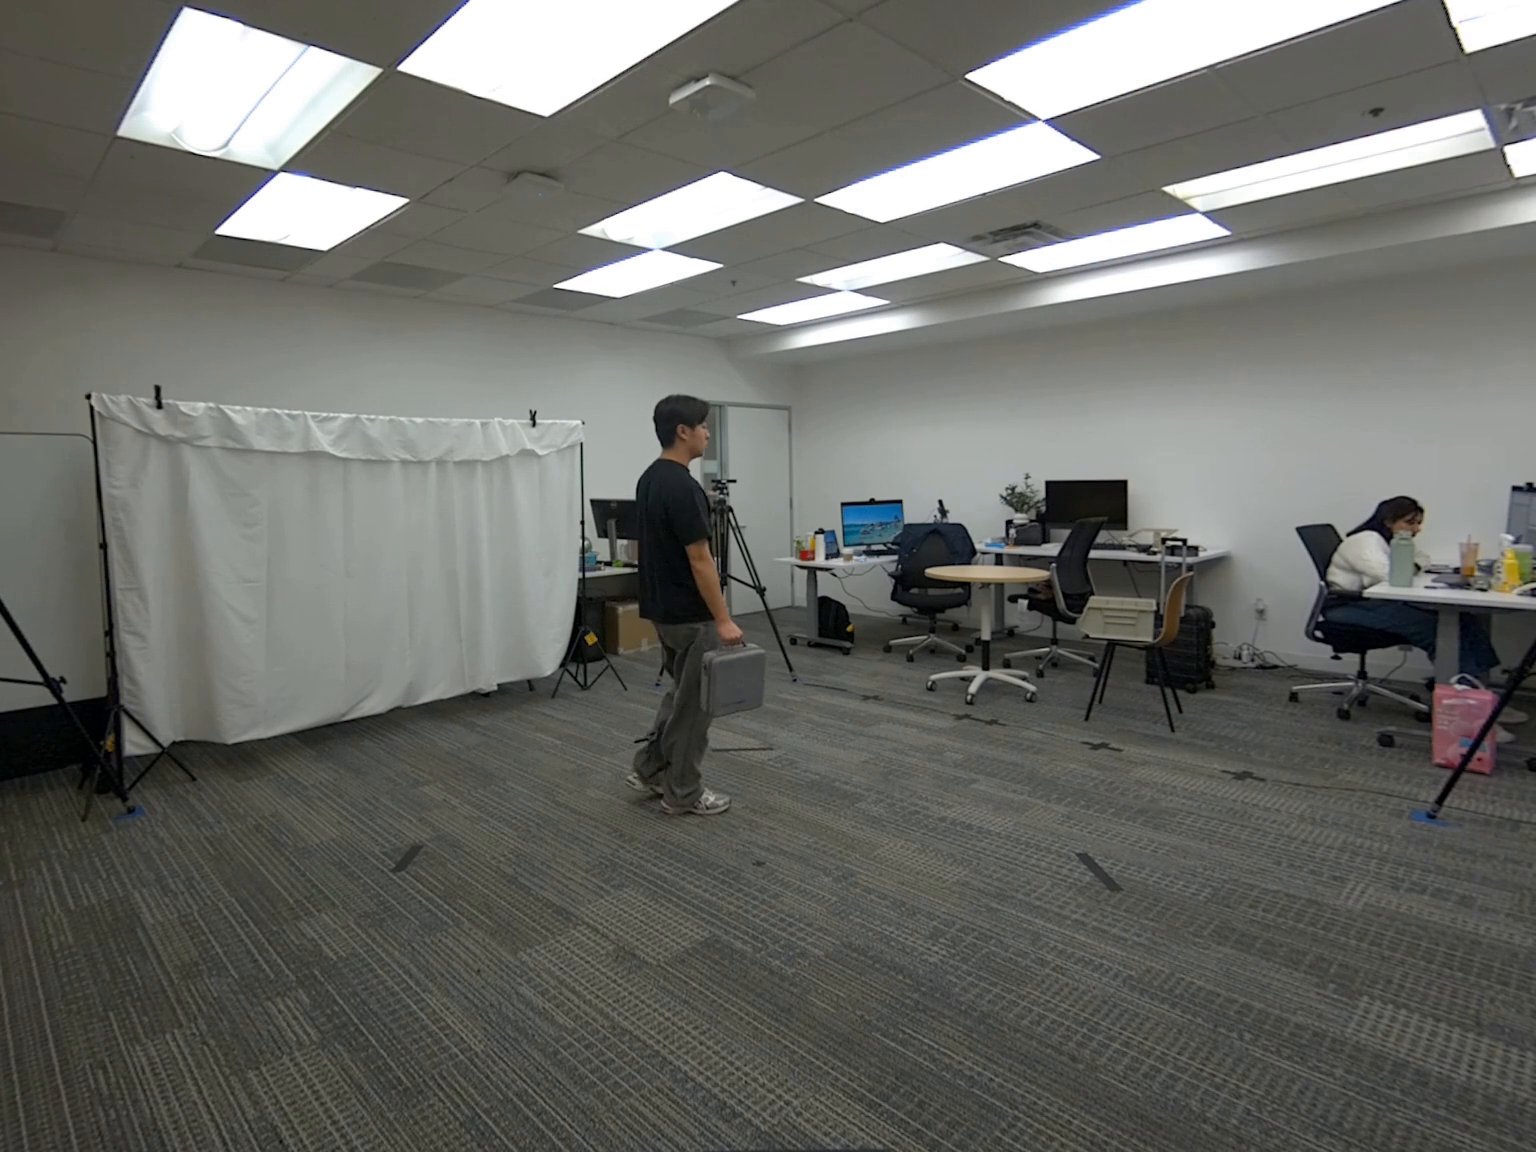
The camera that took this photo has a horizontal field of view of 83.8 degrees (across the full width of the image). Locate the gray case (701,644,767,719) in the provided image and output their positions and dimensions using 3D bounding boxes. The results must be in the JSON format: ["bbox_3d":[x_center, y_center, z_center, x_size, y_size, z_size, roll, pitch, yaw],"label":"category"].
[{"bbox_3d":[-0.150,0.395,3.356,0.257,0.284,0.106,-5,13,-29],"label":"gray case"}]
